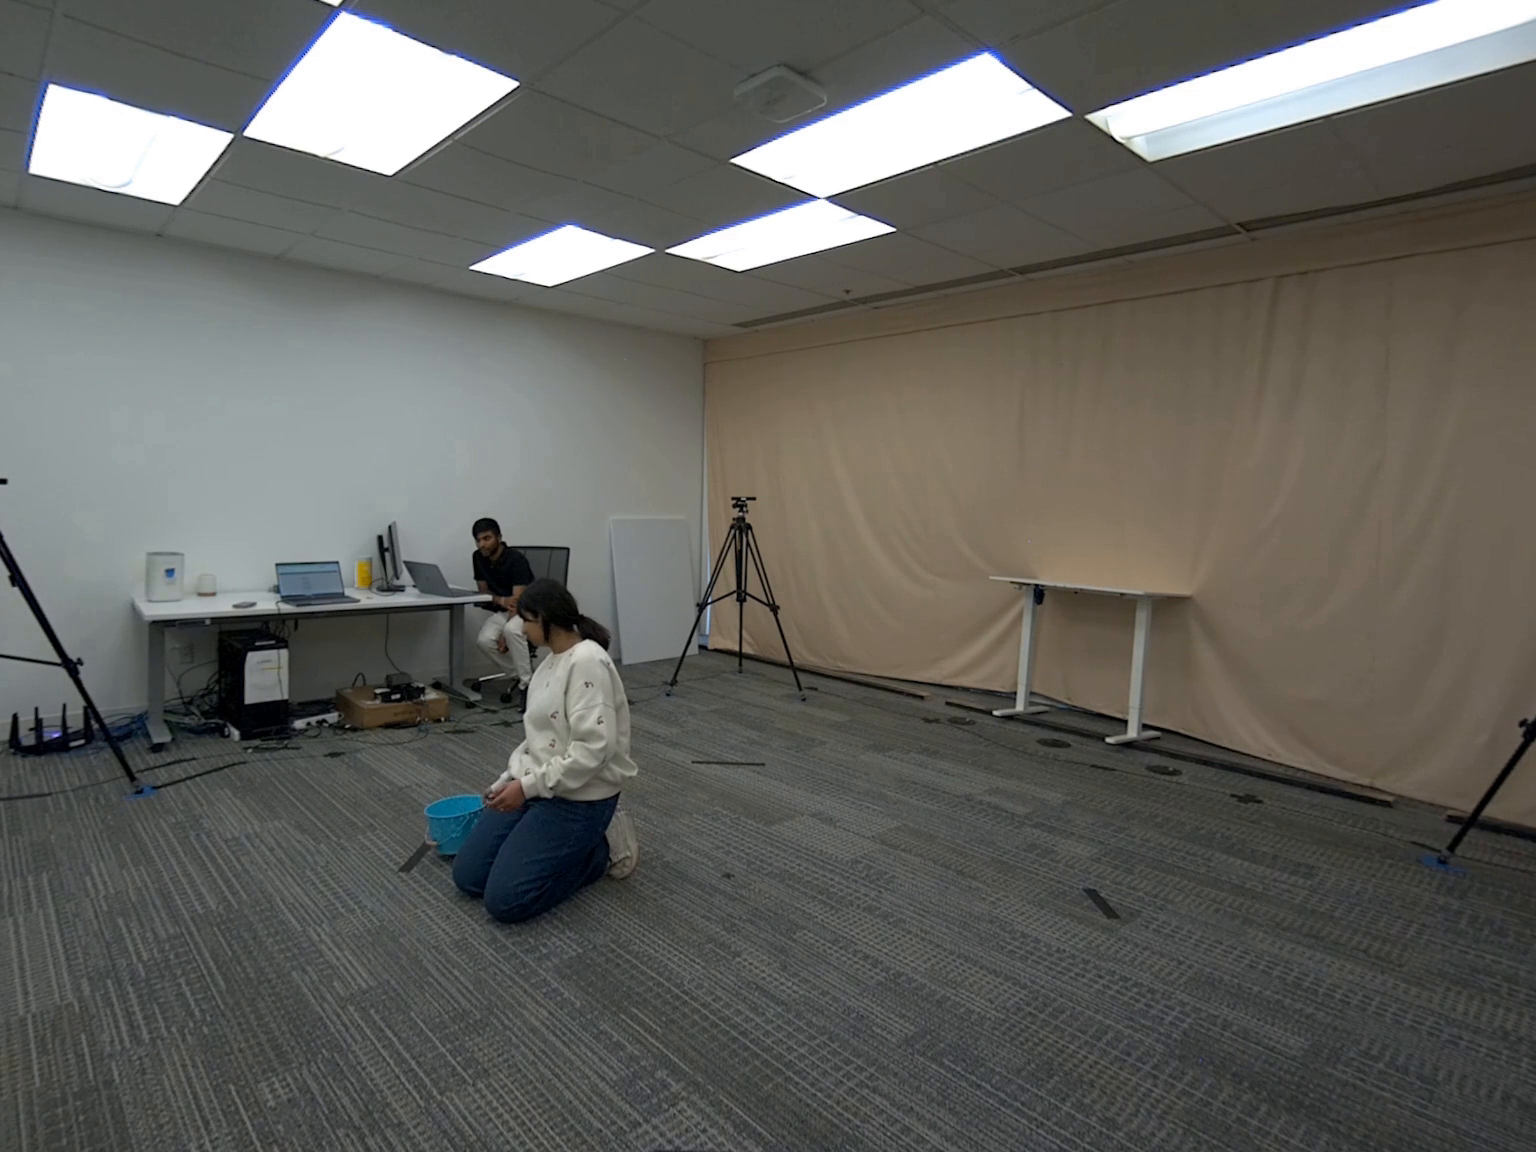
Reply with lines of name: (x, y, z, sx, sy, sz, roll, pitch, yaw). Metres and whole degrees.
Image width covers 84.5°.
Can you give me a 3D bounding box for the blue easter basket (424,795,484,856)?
blue easter basket: (-1.198, 0.948, 3.231, 0.243, 0.155, 0.244, -3, 4, -1)
